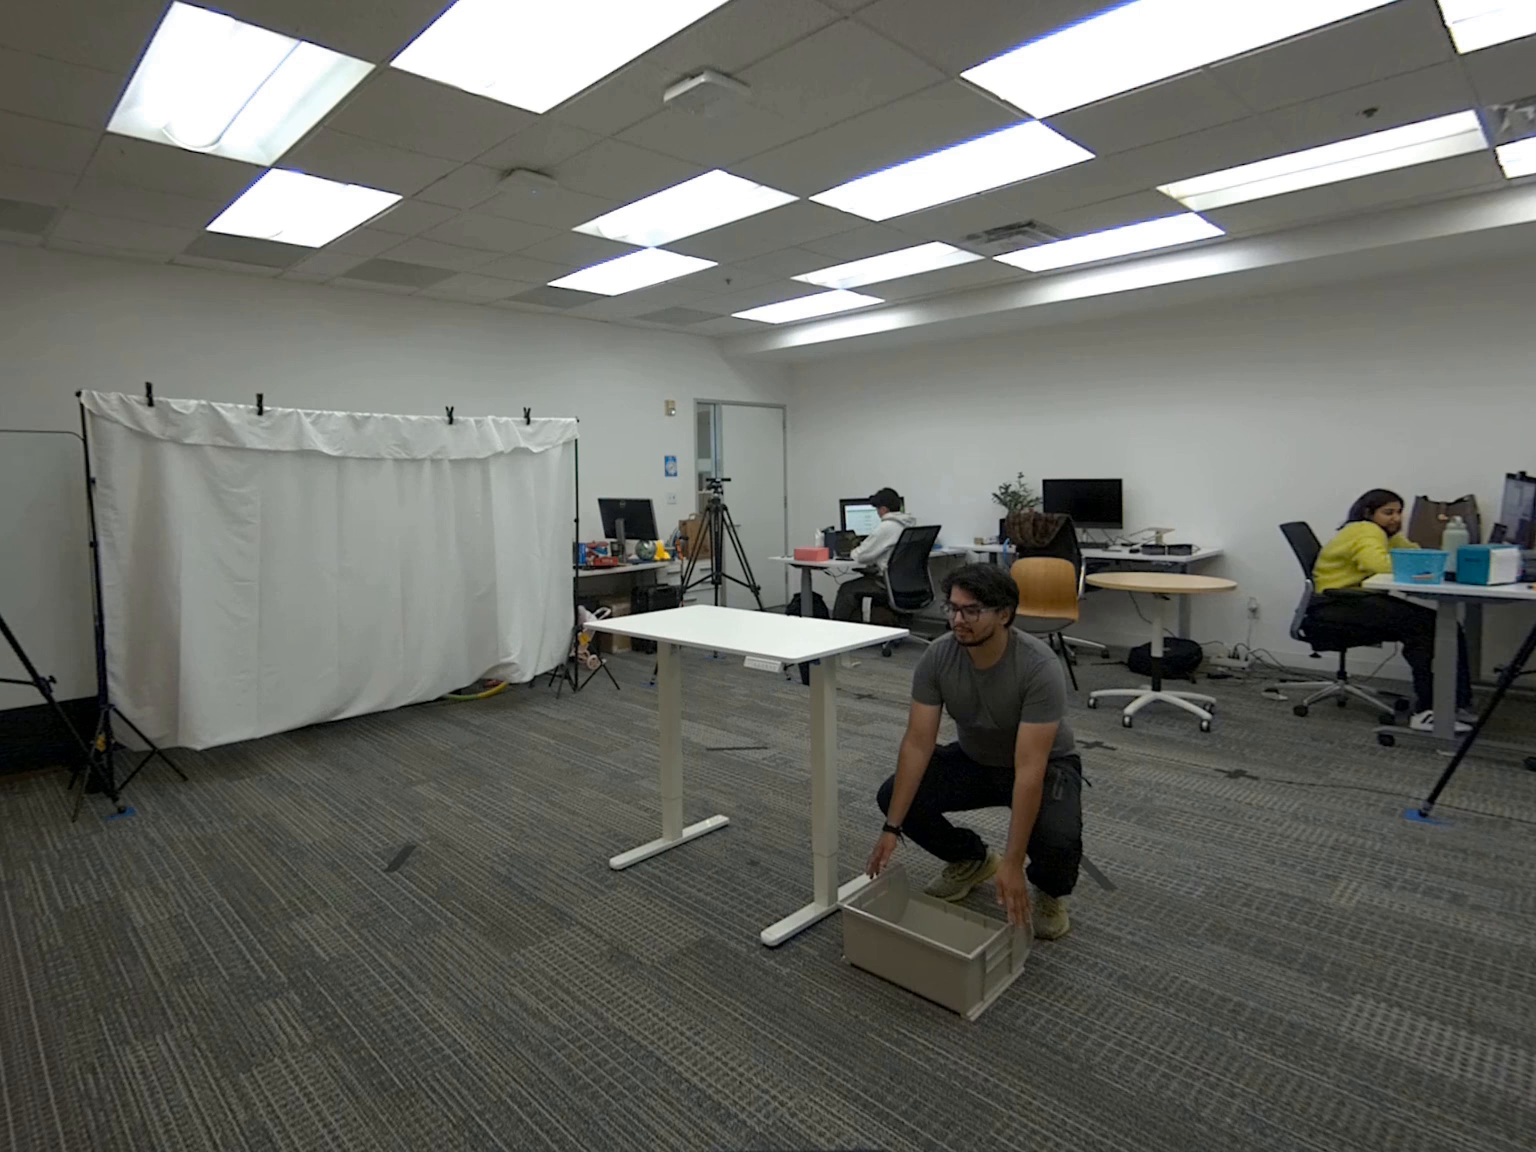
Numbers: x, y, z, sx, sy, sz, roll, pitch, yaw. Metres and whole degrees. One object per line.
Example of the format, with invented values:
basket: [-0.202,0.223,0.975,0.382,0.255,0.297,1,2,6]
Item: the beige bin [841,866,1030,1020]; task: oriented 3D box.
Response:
beige bin: [0.481,1.021,2.441,0.435,0.188,0.368,5,9,42]
